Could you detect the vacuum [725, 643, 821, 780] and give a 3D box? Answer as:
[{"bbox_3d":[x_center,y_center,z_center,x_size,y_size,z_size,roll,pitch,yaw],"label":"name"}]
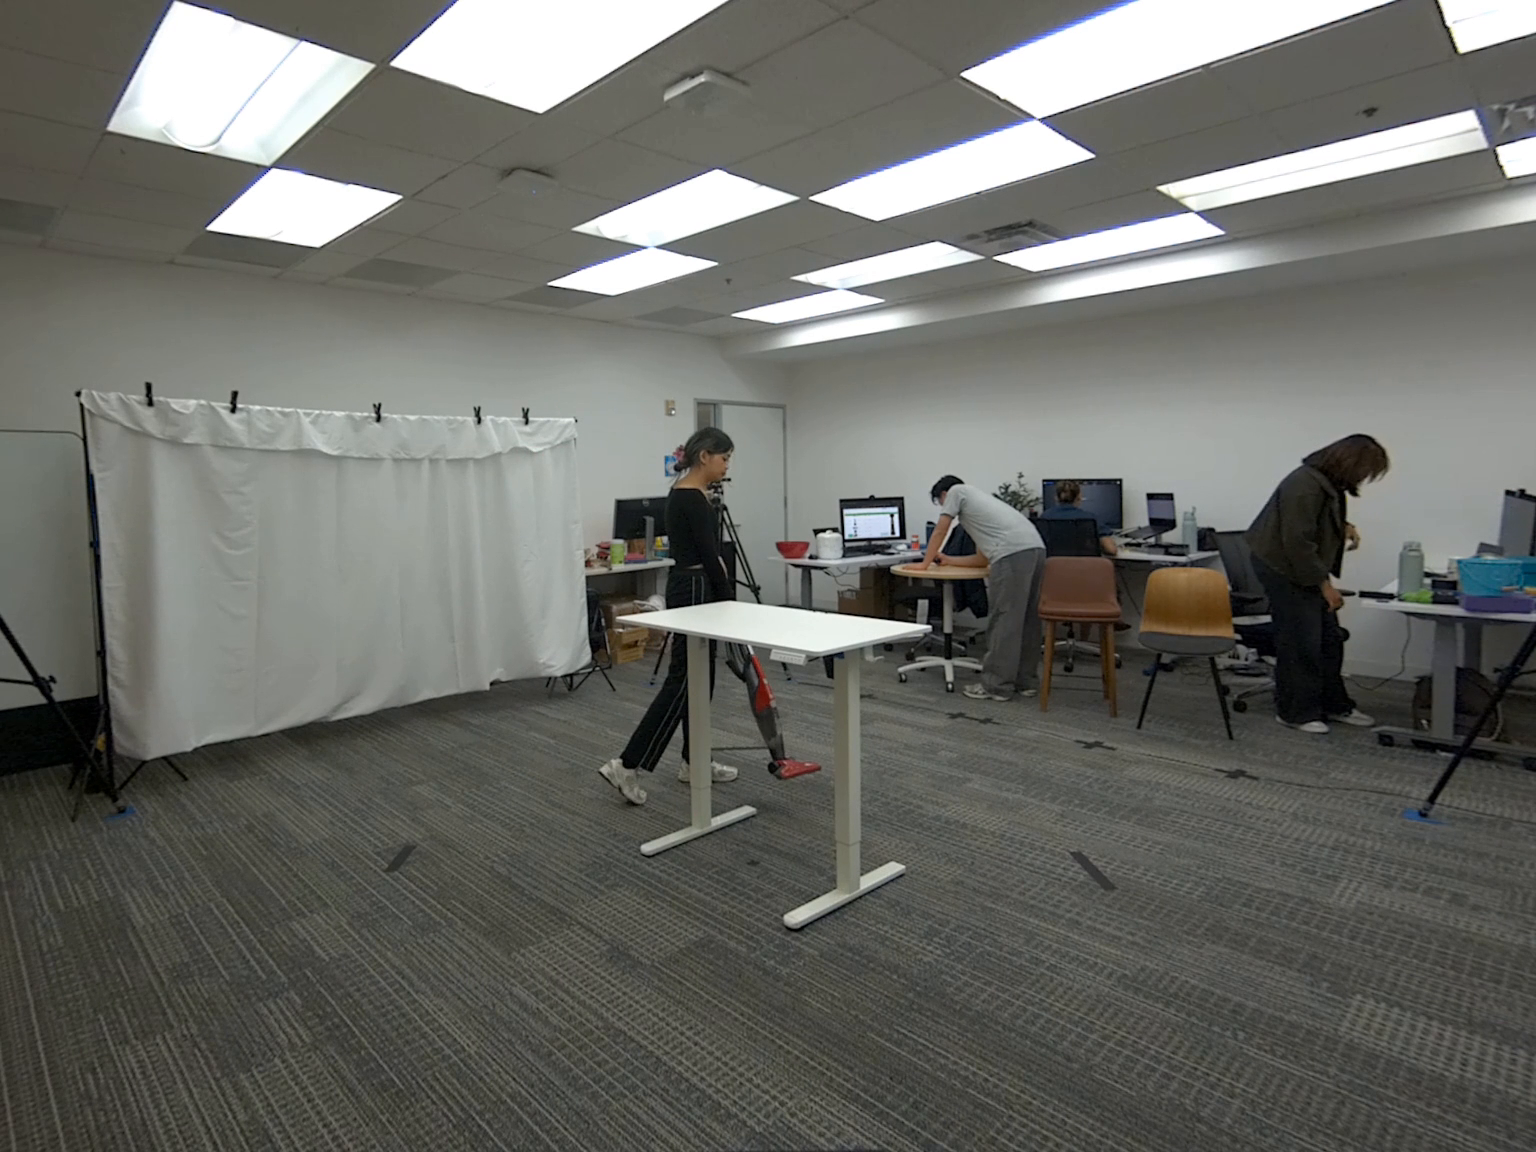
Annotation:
[{"bbox_3d":[-0.072,0.376,3.821,0.145,1.075,0.244,-34,-26,32],"label":"vacuum"}]
